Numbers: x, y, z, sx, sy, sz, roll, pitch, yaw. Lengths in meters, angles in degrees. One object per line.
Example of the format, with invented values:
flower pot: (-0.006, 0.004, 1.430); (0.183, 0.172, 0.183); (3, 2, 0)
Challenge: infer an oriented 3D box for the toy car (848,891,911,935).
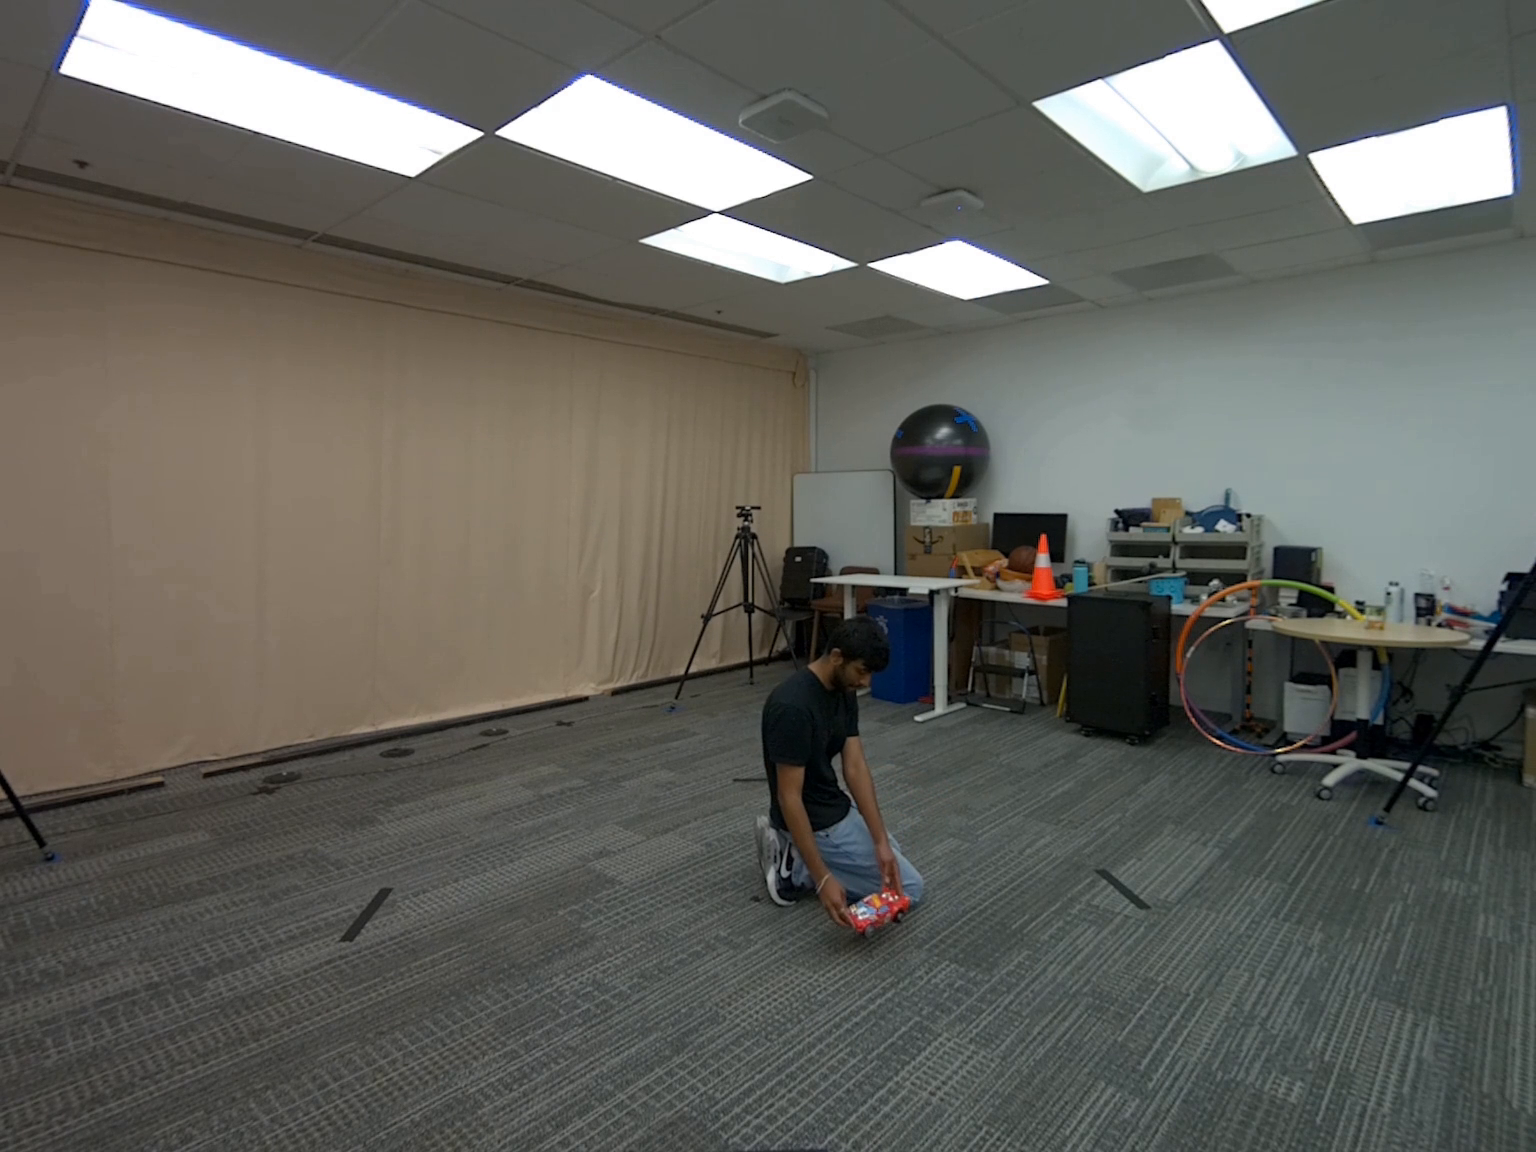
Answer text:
toy car: (0.351, 1.063, 2.678); (0.248, 0.082, 0.135); (-17, 19, -39)
